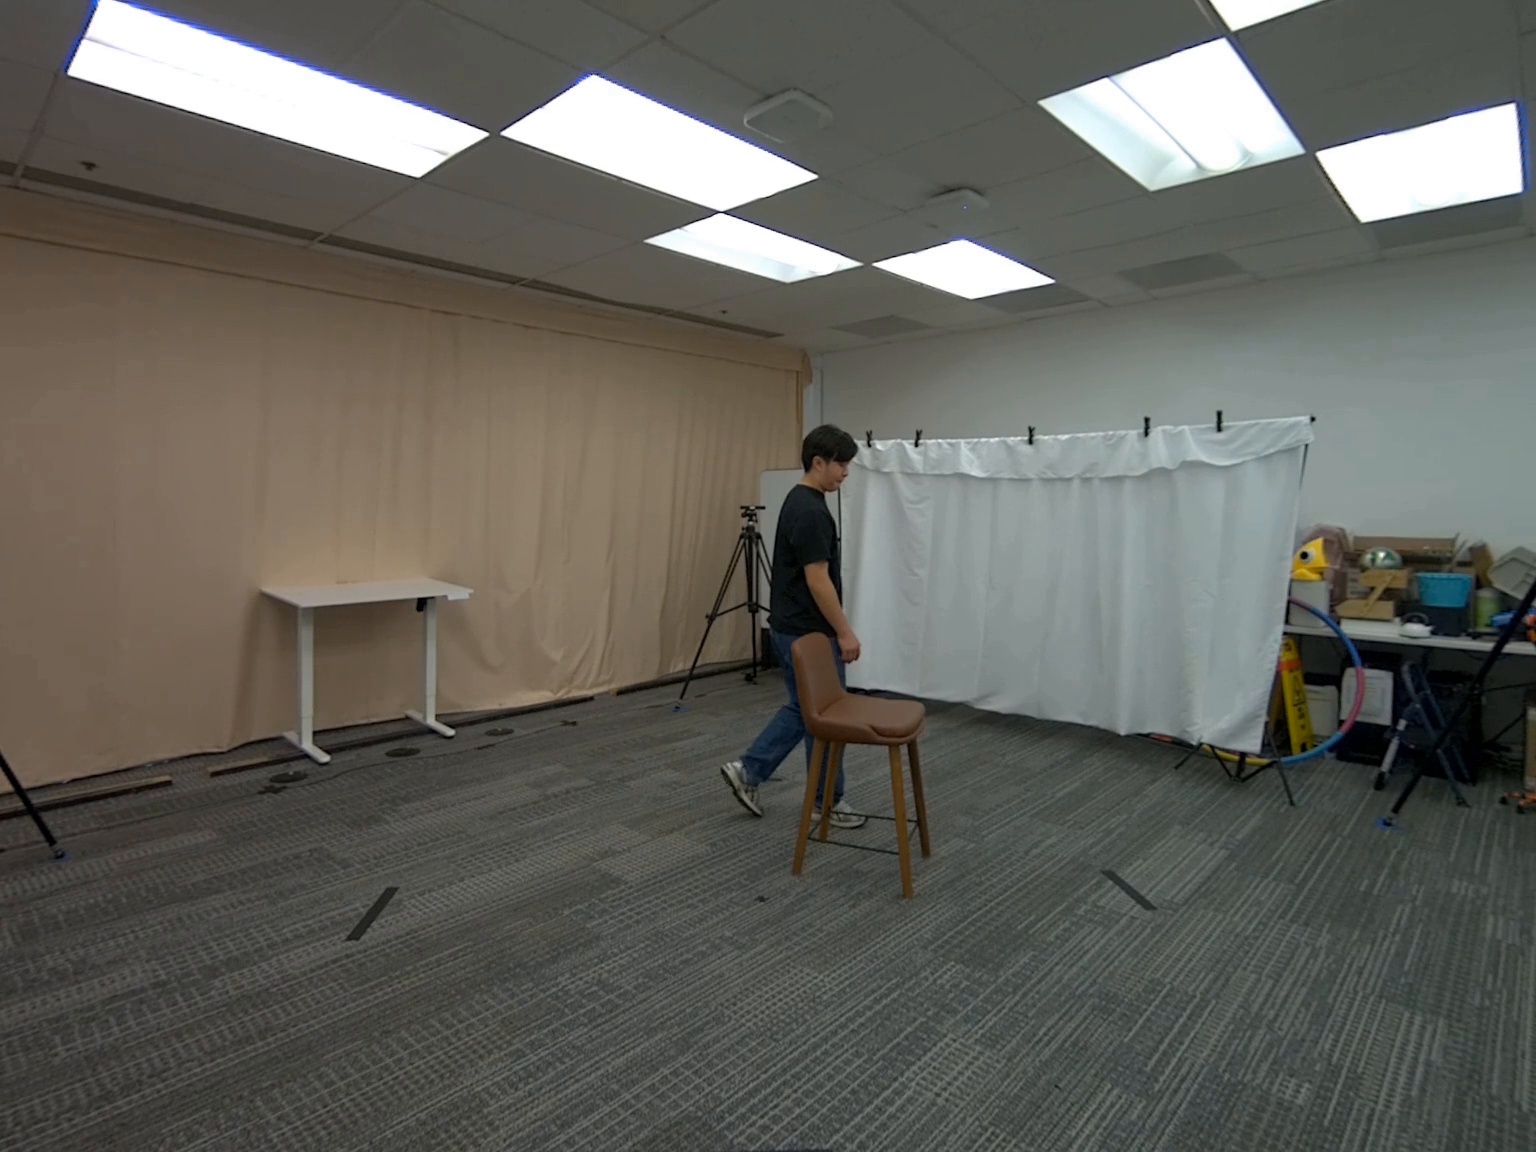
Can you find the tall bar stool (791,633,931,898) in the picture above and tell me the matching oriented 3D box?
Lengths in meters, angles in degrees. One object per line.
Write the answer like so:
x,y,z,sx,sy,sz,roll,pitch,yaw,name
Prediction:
0.360,0.681,3.236,0.479,0.888,0.446,-1,2,23,tall bar stool
